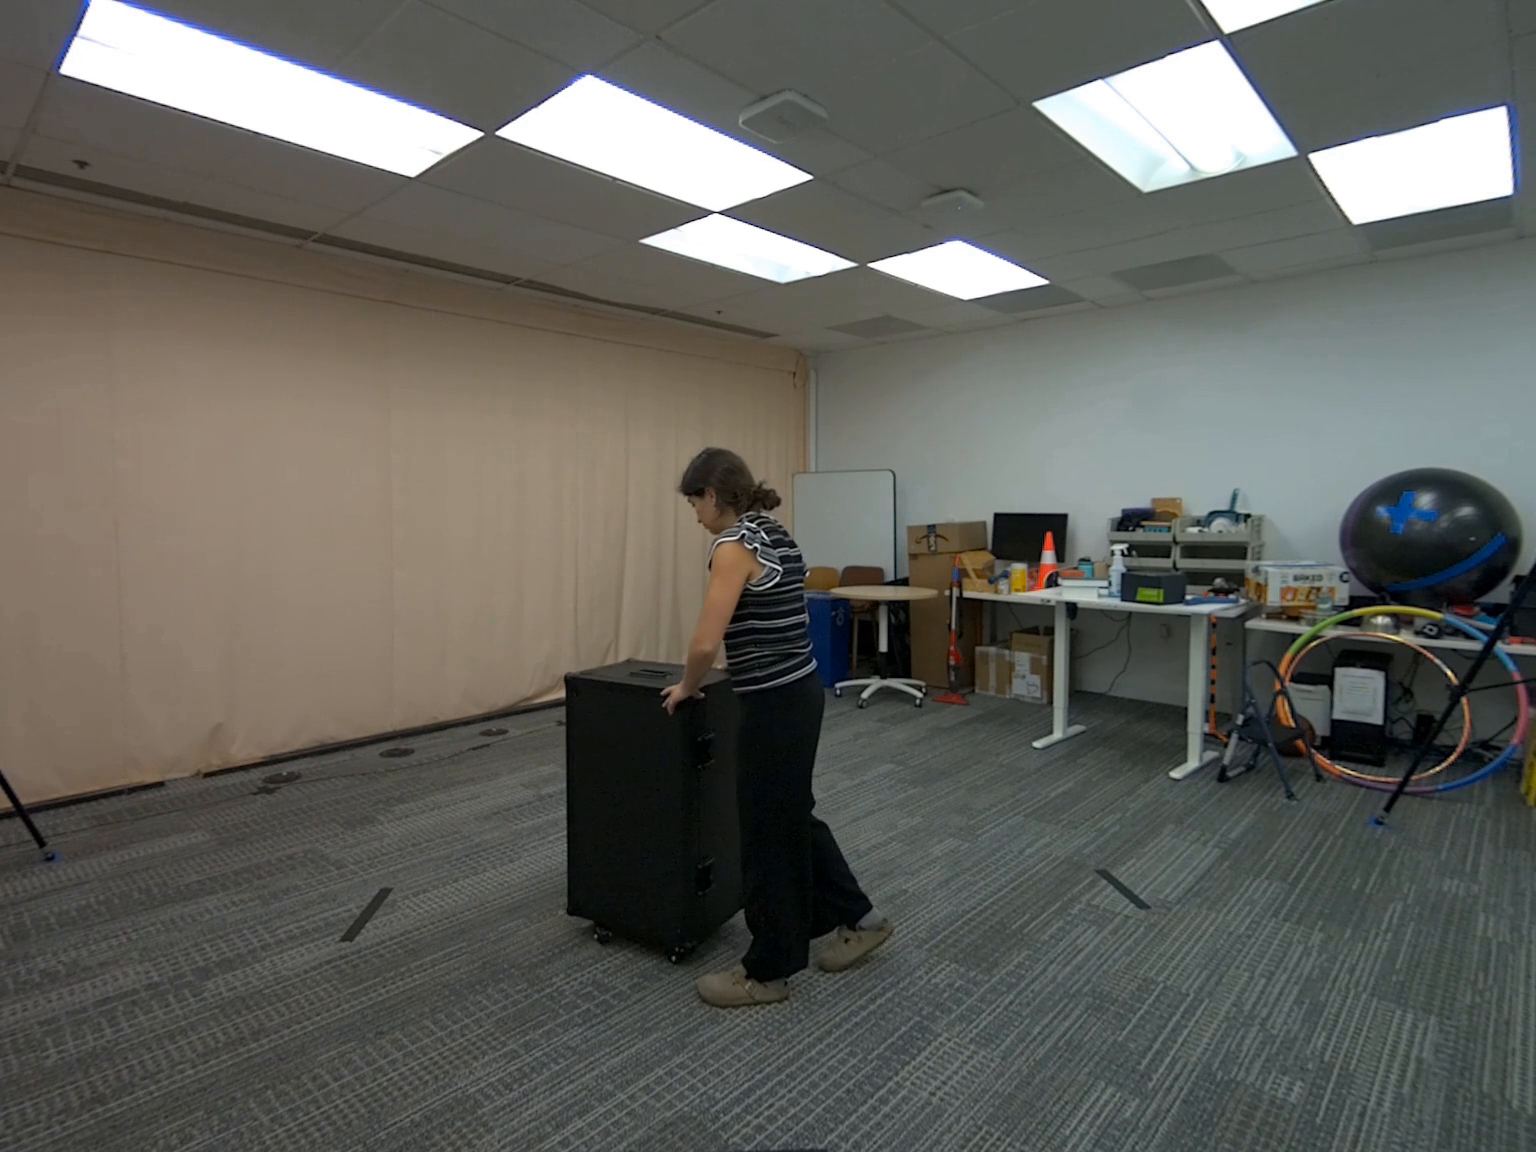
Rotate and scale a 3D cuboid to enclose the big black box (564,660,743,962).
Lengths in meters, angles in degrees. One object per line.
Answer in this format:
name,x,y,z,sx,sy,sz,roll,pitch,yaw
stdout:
big black box,-0.362,0.744,2.762,0.536,0.860,0.385,2,2,29
